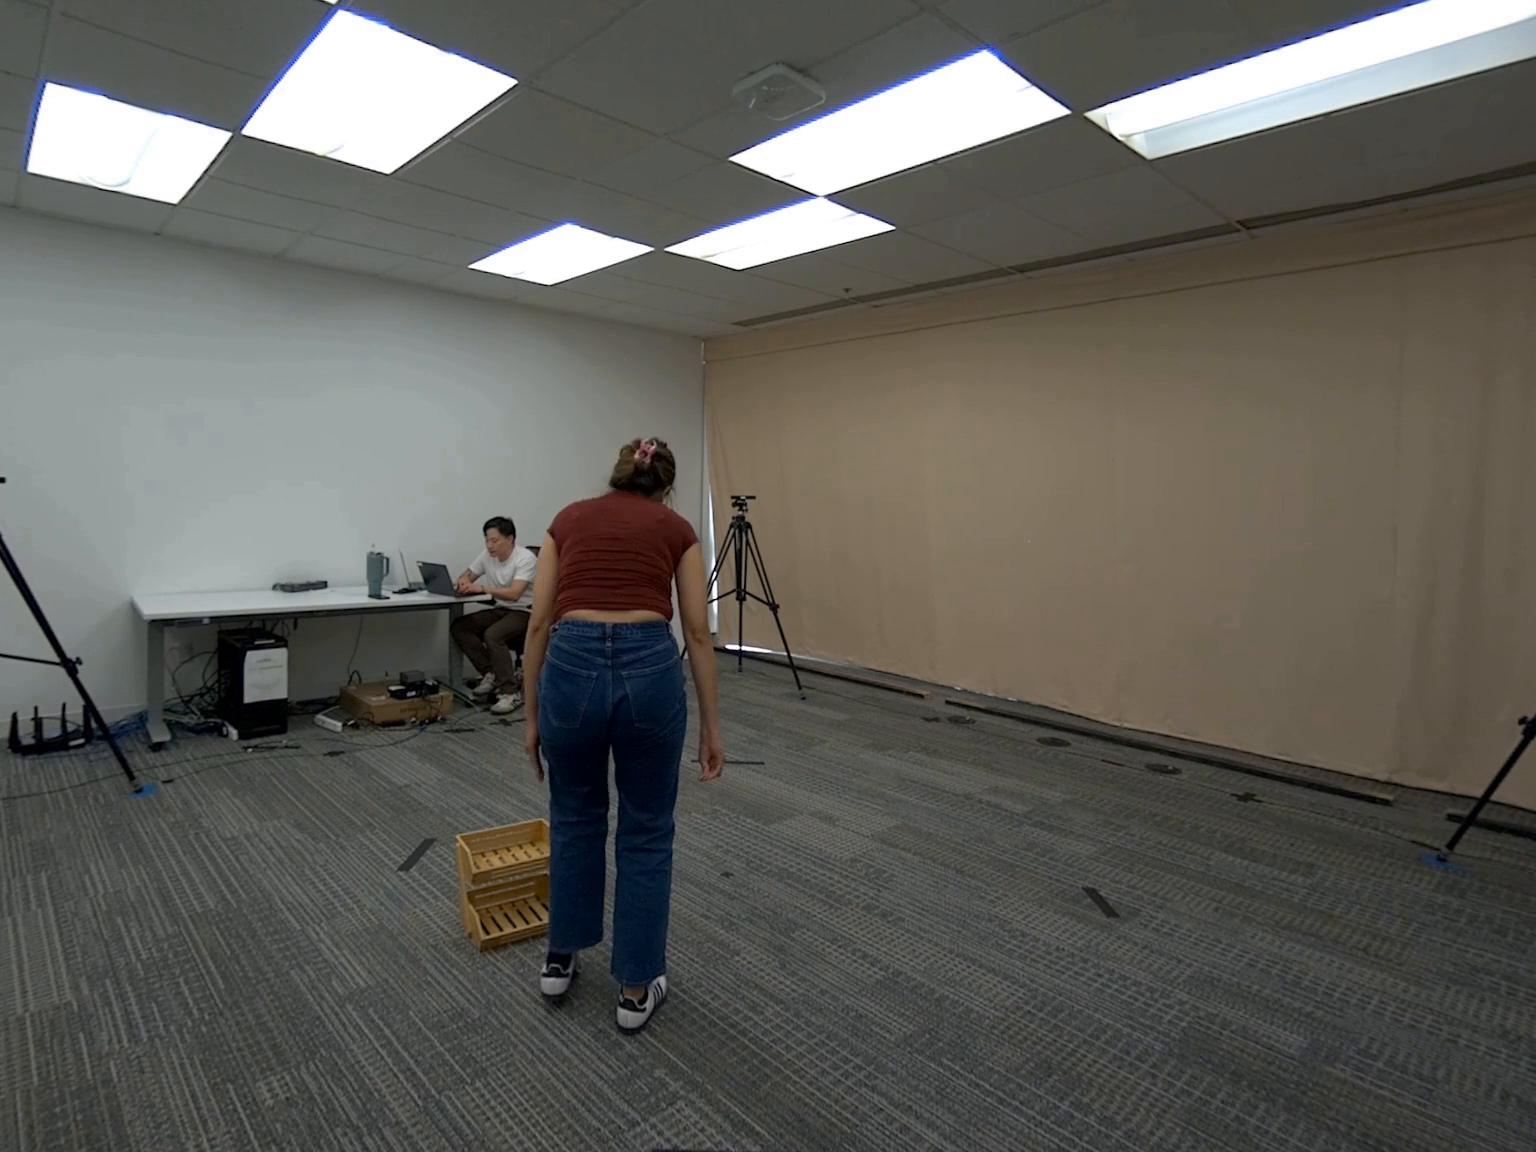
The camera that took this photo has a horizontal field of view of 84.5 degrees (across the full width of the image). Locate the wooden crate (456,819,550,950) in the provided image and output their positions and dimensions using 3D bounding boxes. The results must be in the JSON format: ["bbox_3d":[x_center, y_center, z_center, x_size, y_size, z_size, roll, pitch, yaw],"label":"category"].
[{"bbox_3d":[-0.826,0.989,2.724,0.317,0.272,0.309,-1,5,-35],"label":"wooden crate"}]
